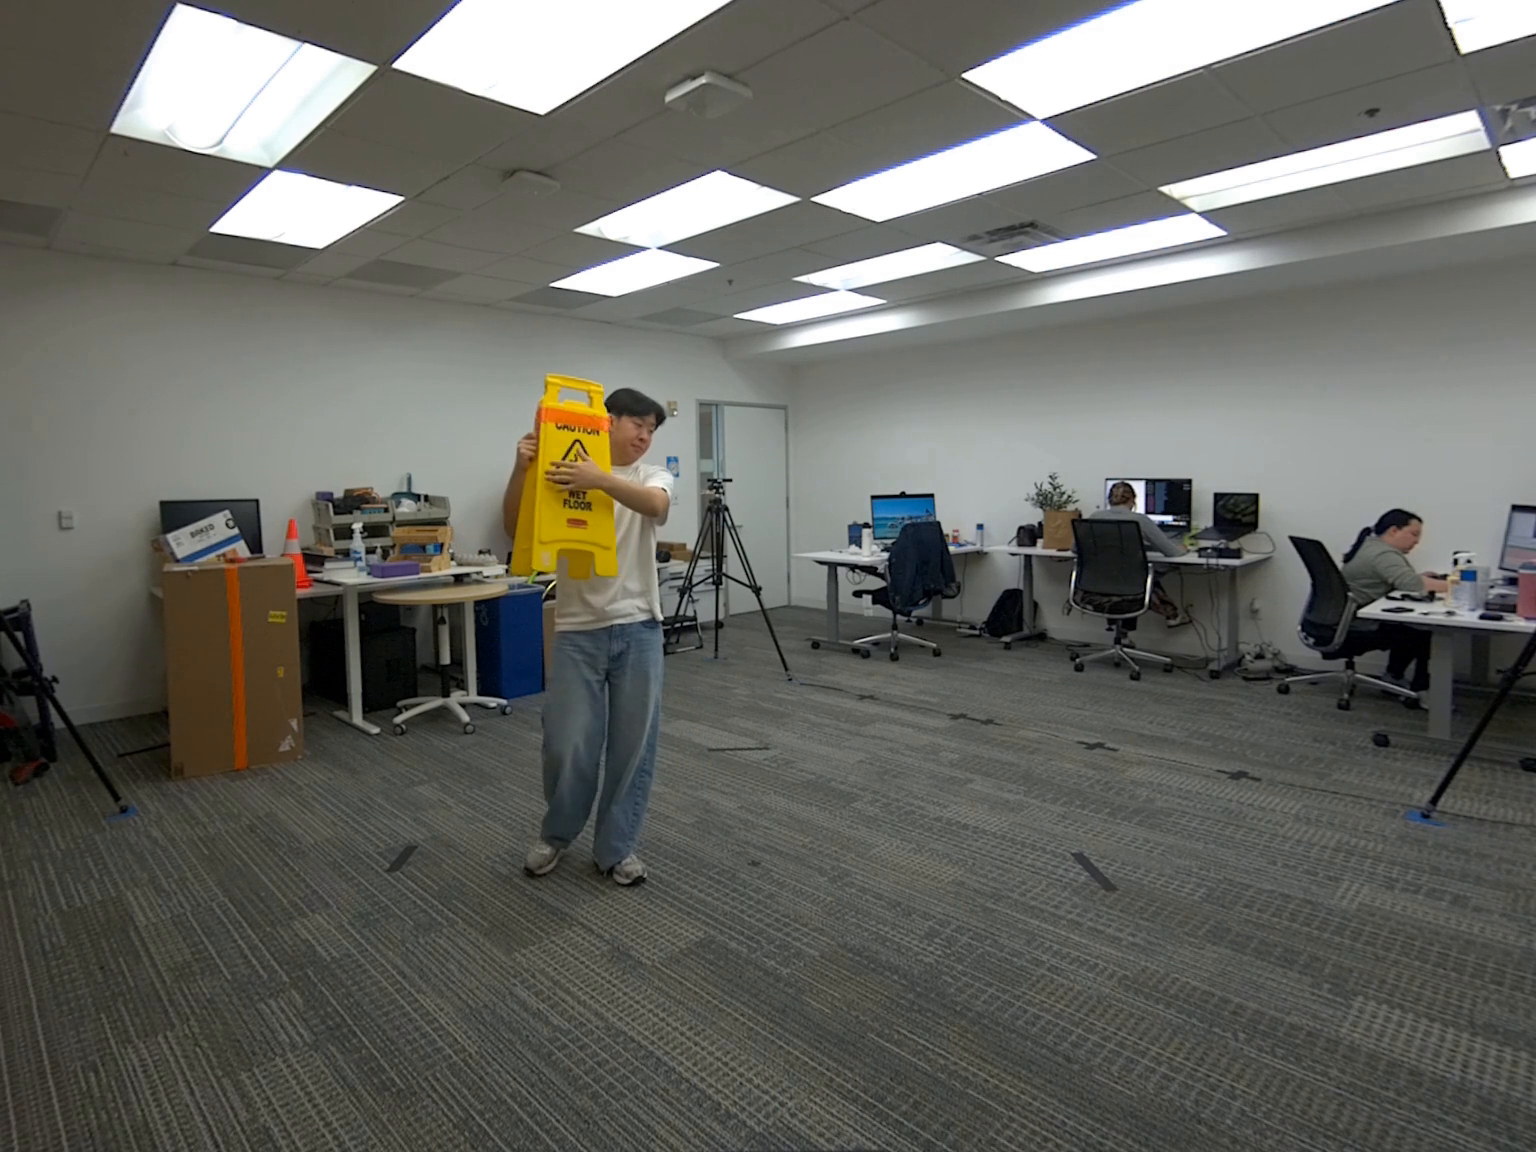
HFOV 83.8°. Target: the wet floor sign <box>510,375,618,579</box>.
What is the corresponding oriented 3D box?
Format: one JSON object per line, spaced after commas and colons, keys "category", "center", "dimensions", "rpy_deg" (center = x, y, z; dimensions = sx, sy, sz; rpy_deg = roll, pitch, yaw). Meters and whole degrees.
{"category": "wet floor sign", "center": [-0.656, -0.324, 2.770], "dimensions": [0.274, 0.650, 0.296], "rpy_deg": [7, -9, -33]}
